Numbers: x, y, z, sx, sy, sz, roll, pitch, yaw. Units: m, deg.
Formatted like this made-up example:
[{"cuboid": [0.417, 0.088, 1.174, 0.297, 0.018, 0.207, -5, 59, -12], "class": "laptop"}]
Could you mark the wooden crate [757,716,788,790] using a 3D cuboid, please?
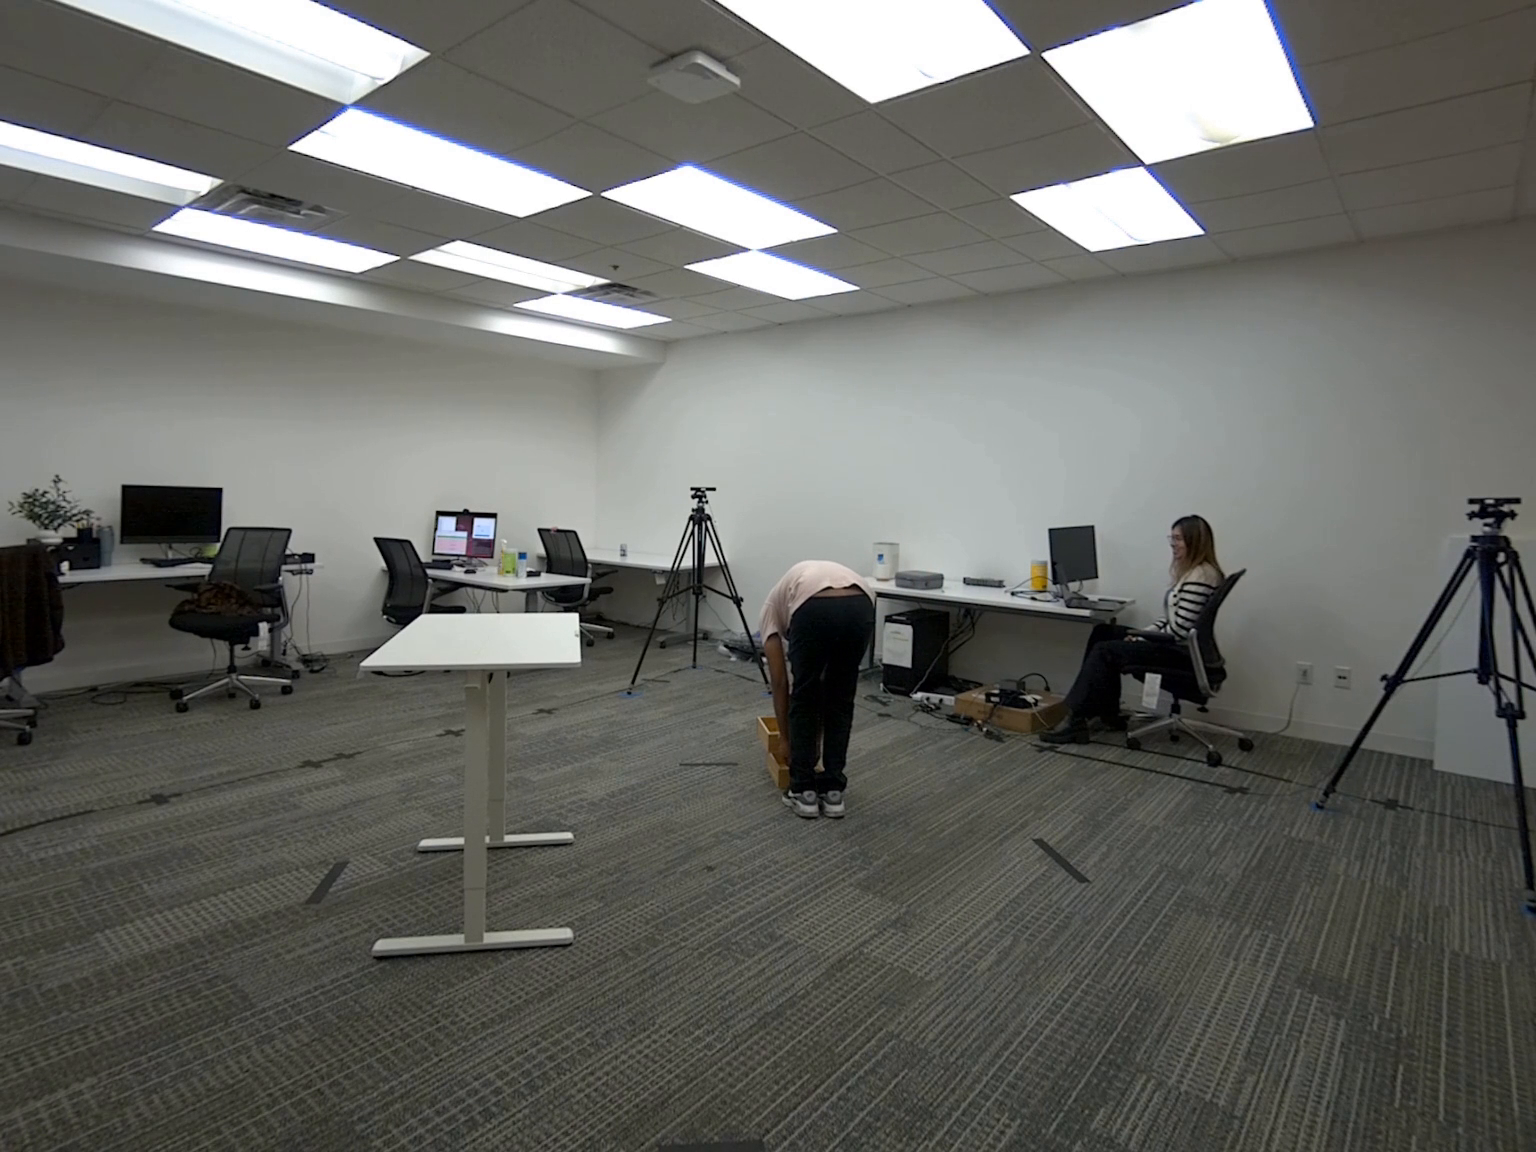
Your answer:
[{"cuboid": [0.115, 0.840, 4.122, 0.299, 0.272, 0.329, 0, 5, -9], "class": "wooden crate"}]
